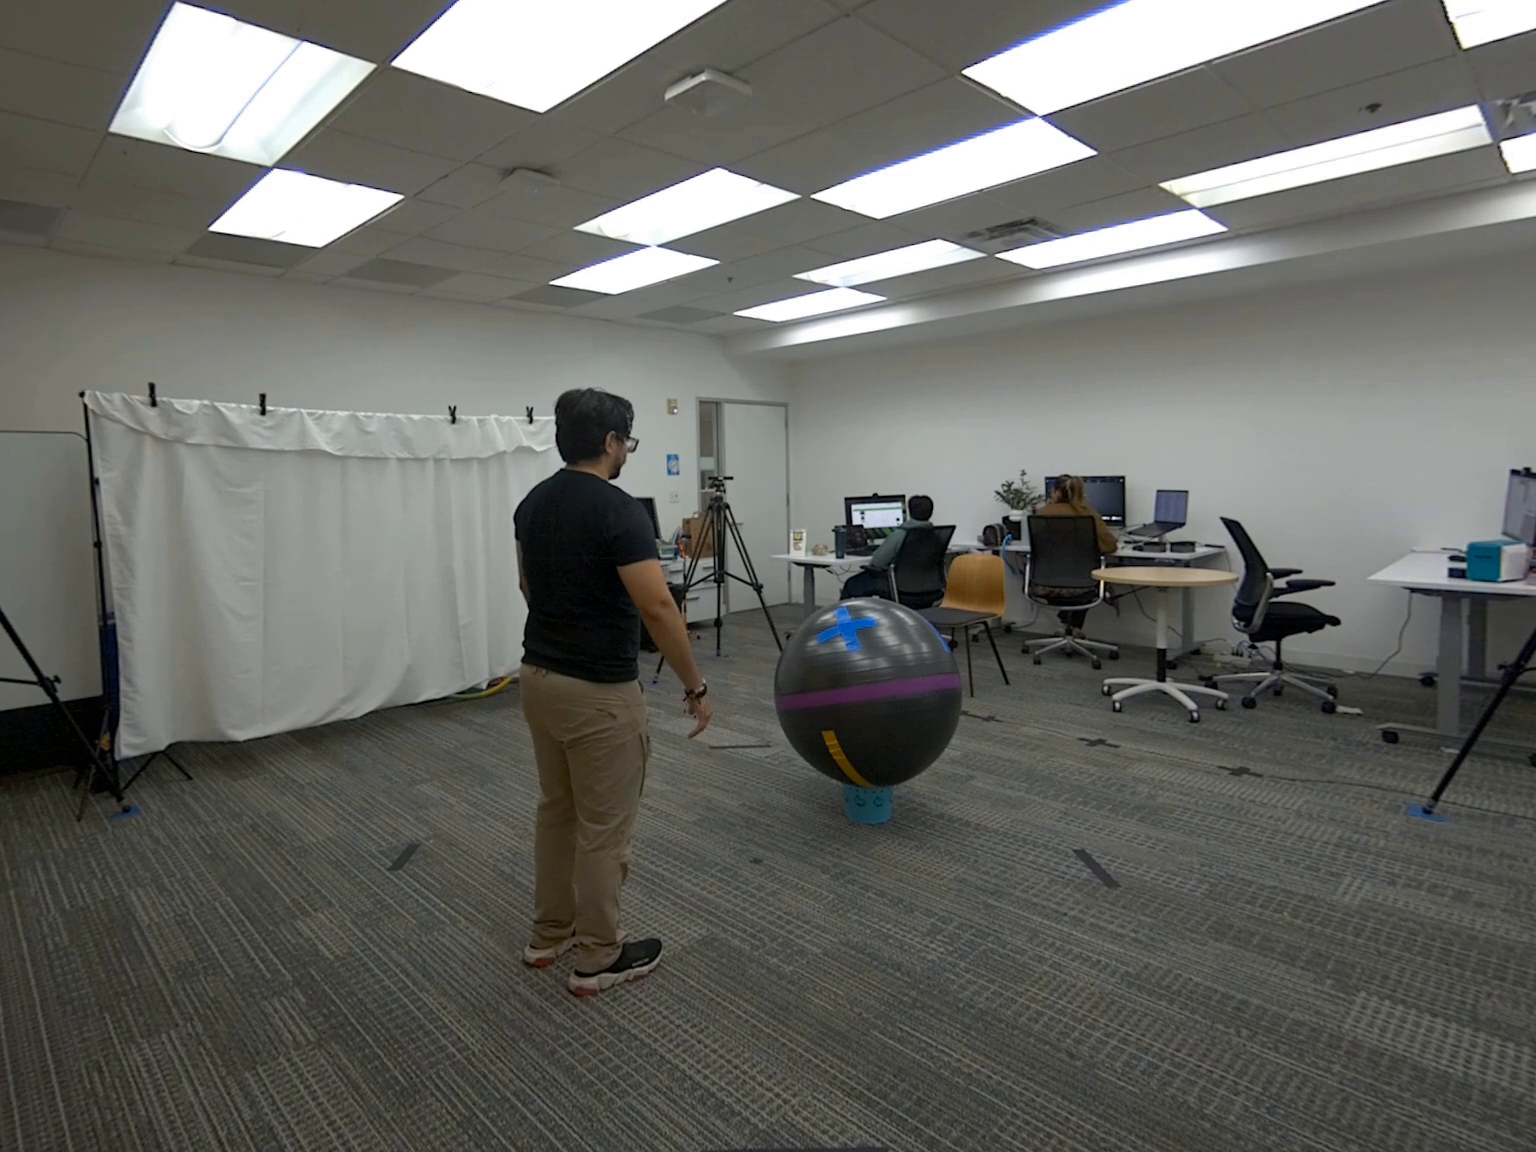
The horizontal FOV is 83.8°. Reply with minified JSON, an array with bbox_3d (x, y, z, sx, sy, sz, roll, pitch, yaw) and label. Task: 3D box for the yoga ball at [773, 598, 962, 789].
[{"bbox_3d":[0.402,0.473,3.503,0.757,0.755,0.762,-1,5,-2],"label":"yoga ball"}]
